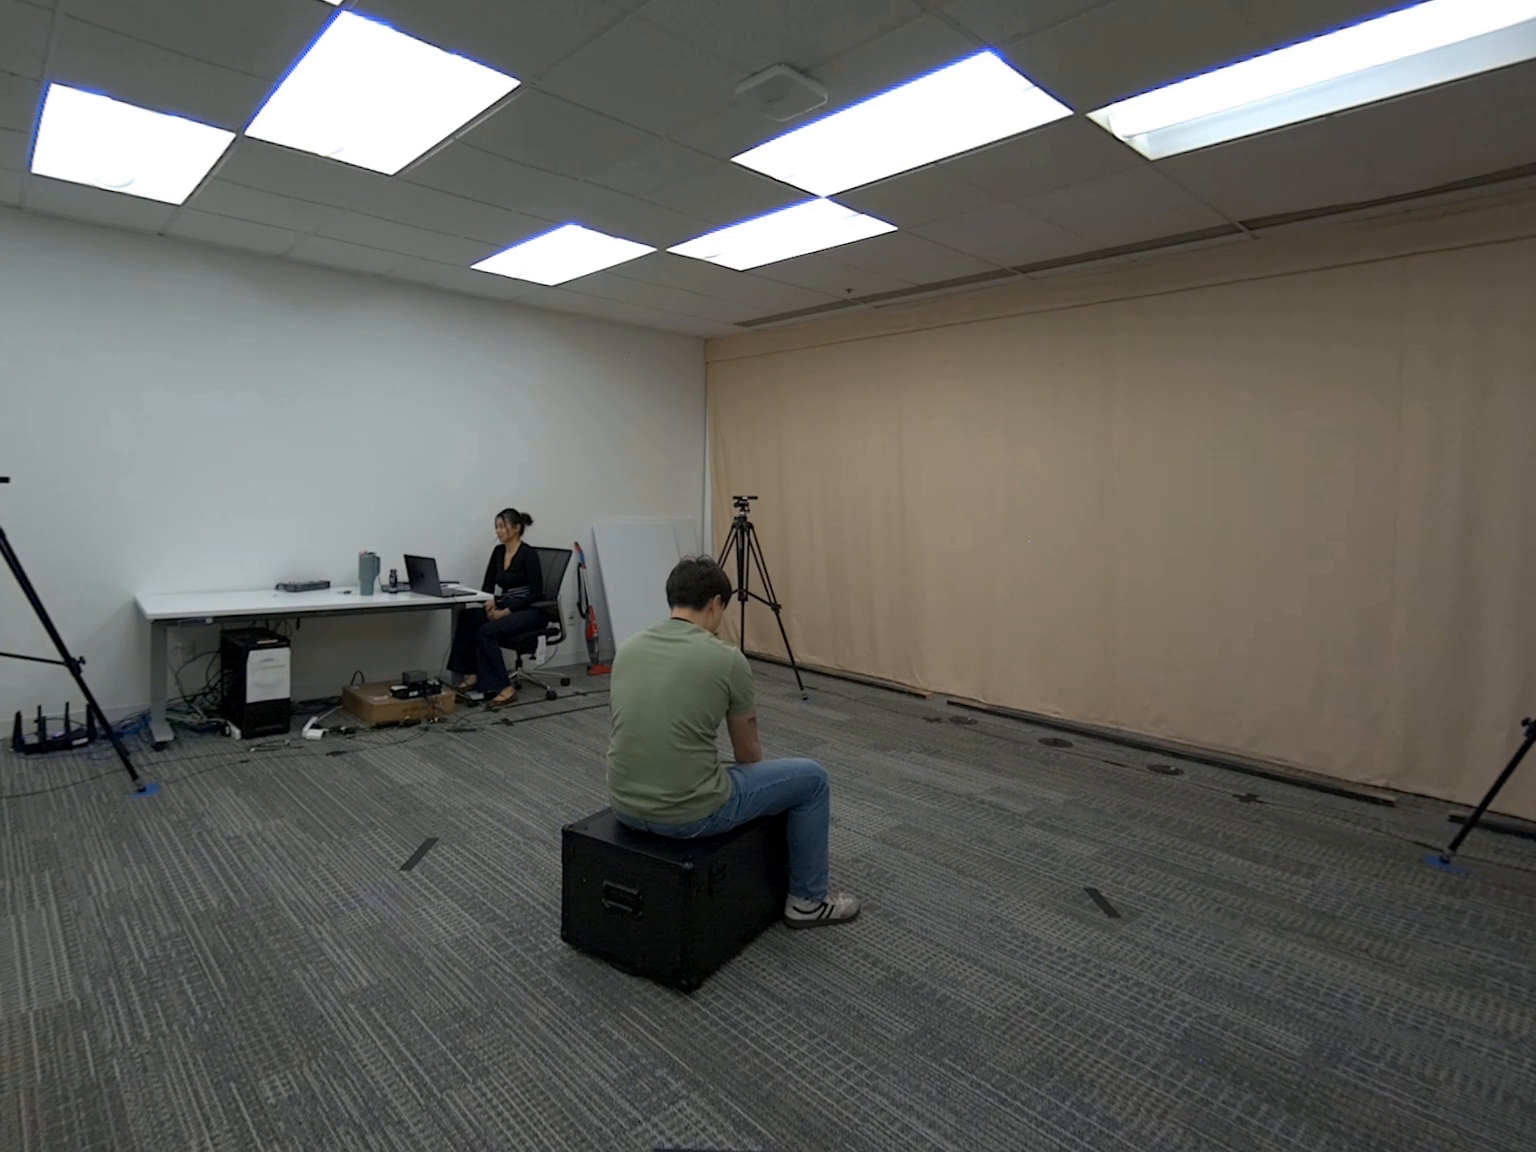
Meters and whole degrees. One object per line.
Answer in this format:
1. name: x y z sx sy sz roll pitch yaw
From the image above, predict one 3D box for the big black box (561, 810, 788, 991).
1. big black box: -0.219 0.944 2.784 0.533 0.395 0.845 3 6 30
